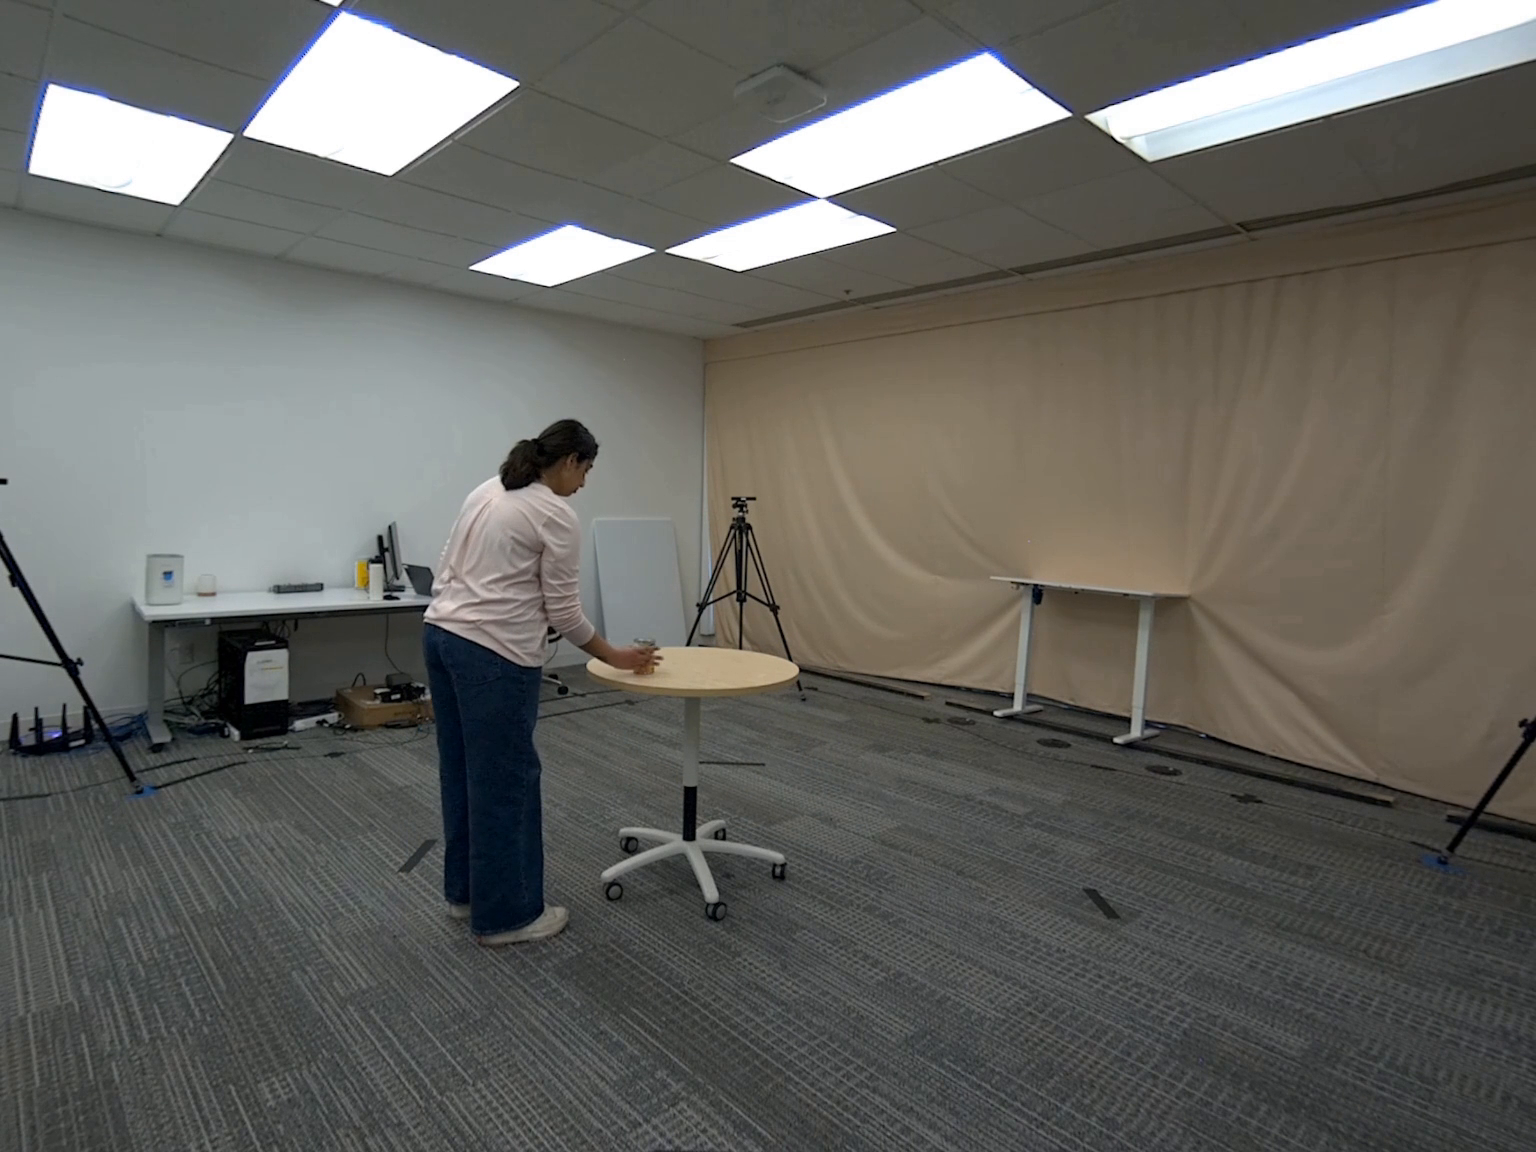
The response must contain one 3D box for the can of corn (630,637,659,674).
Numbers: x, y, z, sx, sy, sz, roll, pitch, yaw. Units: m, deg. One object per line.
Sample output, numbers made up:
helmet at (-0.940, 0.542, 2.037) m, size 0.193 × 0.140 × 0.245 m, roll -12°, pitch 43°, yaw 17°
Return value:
can of corn at (-0.428, 0.278, 2.894) m, size 0.074 × 0.111 × 0.074 m, roll 1°, pitch 5°, yaw -1°
